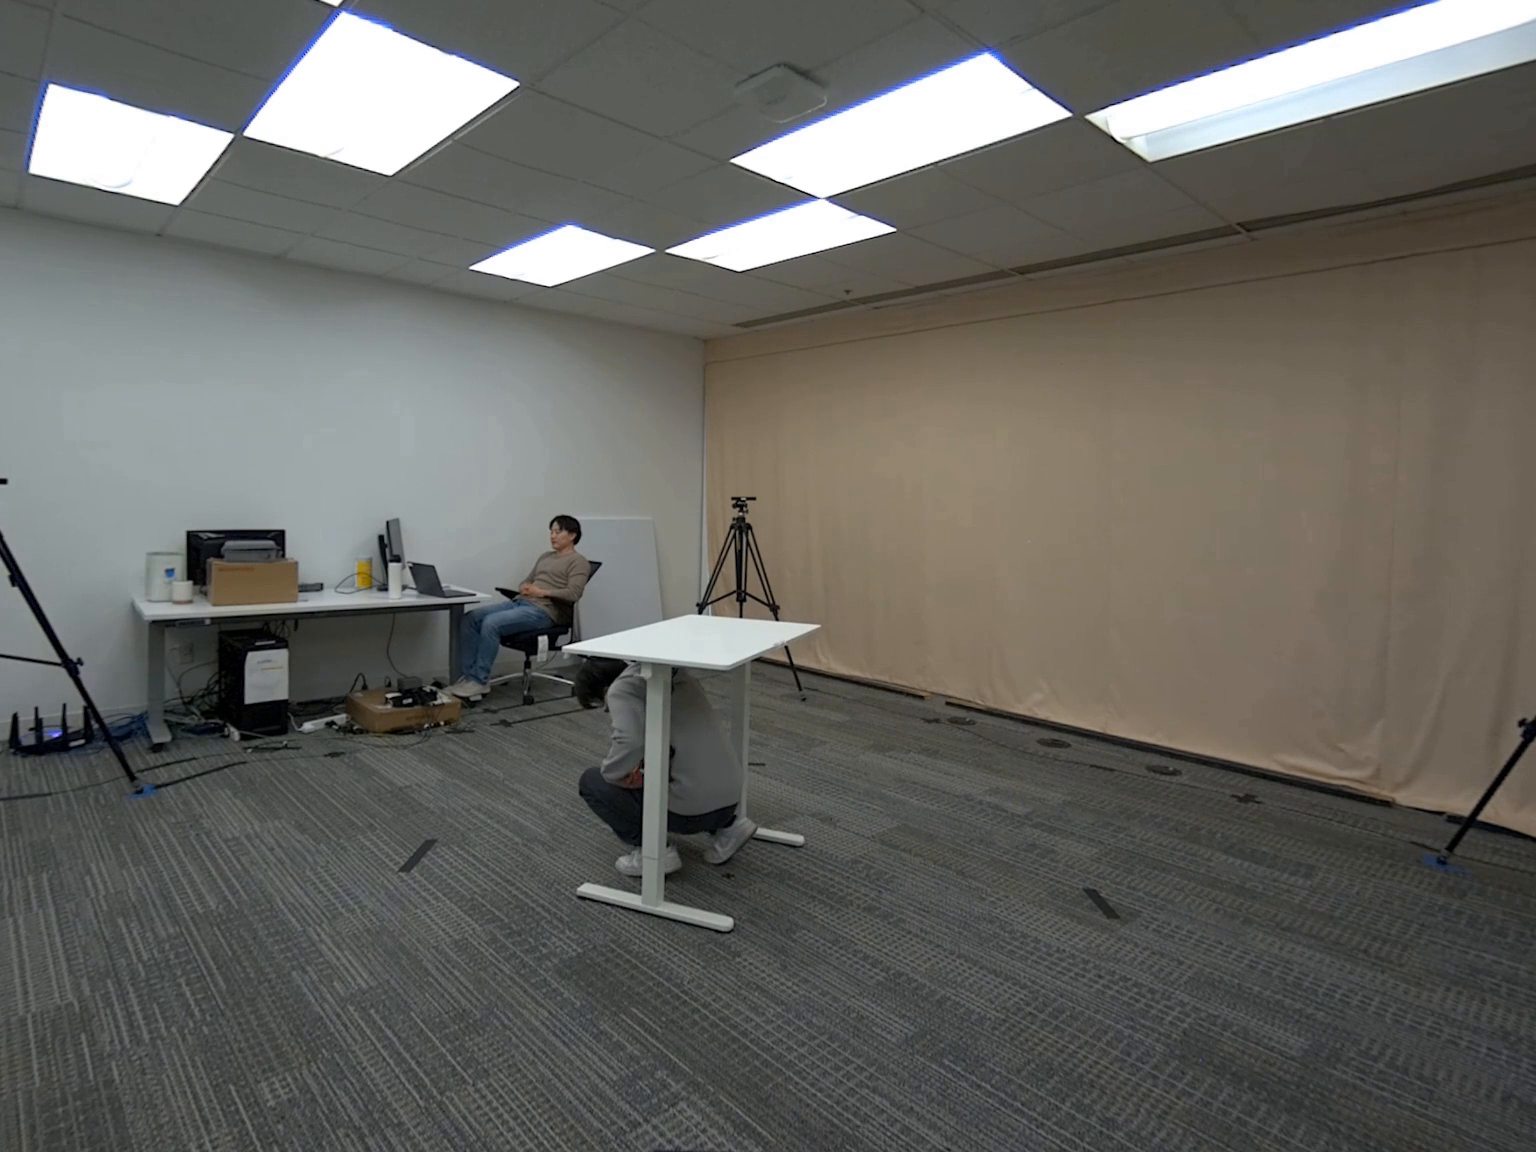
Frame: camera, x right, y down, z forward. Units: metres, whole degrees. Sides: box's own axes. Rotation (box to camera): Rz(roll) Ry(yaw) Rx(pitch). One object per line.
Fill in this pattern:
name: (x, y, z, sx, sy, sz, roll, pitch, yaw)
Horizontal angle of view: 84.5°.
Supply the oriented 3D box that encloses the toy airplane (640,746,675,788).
toy airplane: (-0.332, 0.680, 3.096, 0.157, 0.263, 0.246, -6, -20, 2)
